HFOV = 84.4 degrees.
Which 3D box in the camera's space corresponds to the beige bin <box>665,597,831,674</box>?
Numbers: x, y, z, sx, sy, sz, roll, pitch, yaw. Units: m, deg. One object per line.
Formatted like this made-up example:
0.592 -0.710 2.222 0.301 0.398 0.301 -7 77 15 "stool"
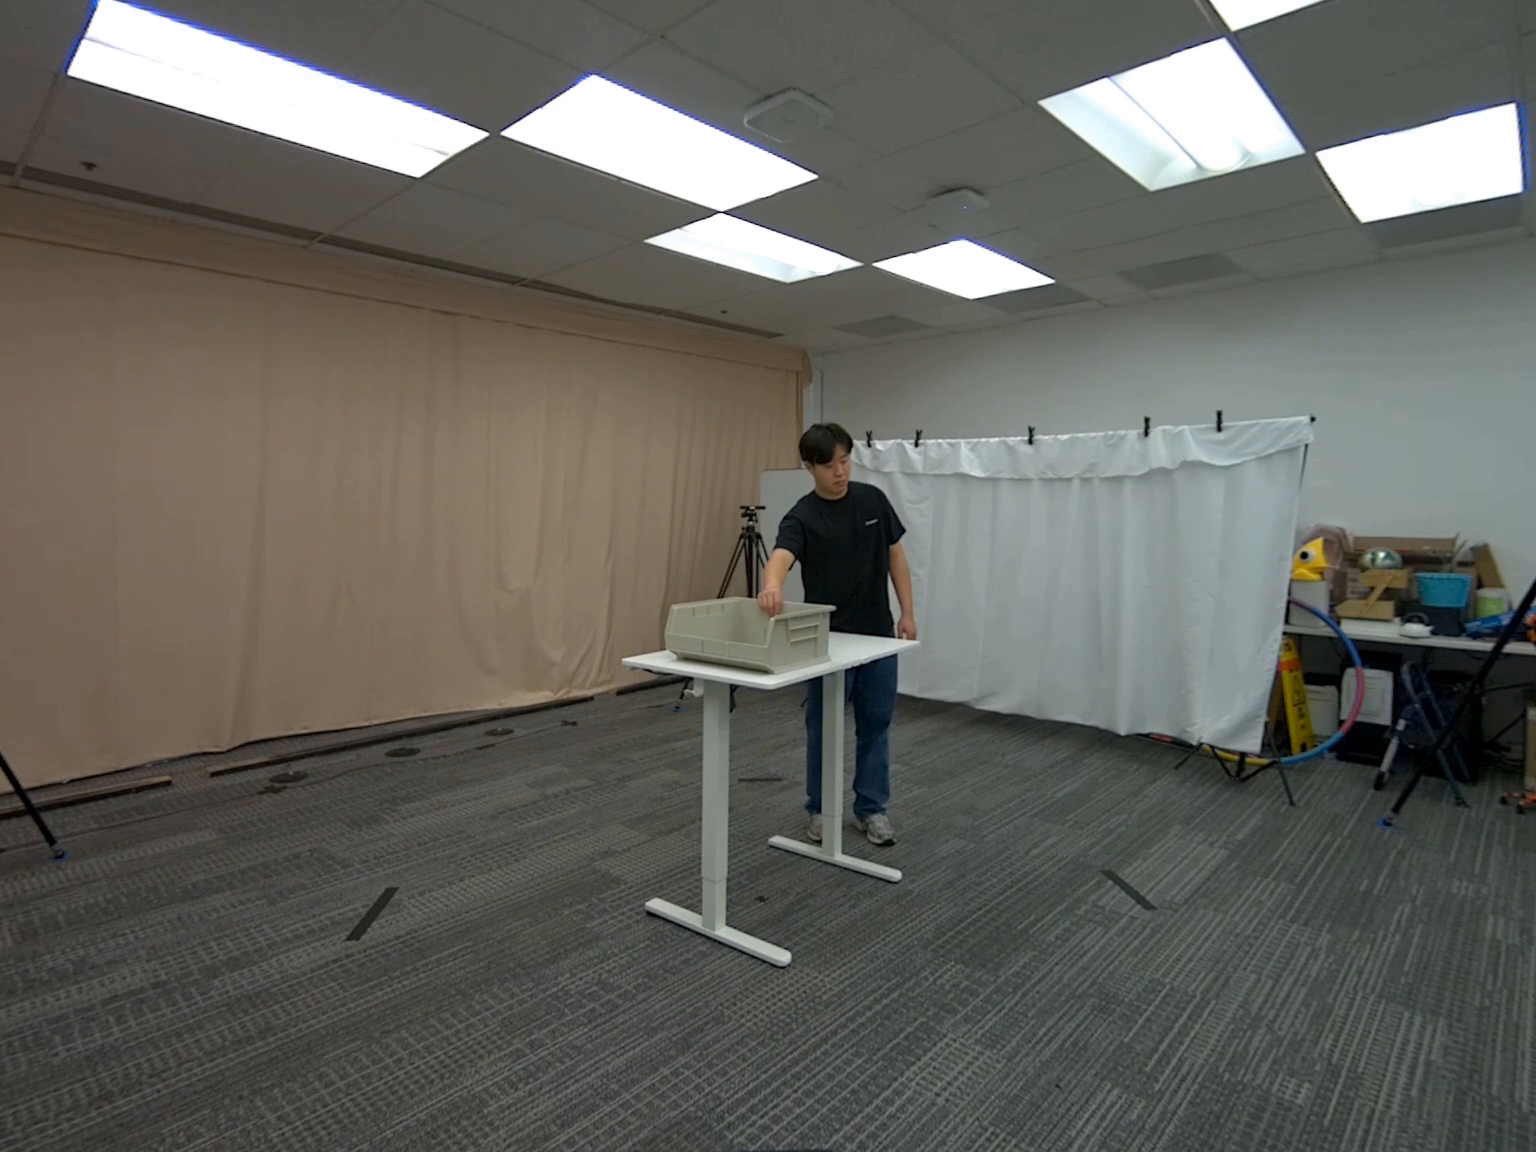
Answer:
-0.055 0.193 2.754 0.436 0.188 0.366 3 4 38 "beige bin"
